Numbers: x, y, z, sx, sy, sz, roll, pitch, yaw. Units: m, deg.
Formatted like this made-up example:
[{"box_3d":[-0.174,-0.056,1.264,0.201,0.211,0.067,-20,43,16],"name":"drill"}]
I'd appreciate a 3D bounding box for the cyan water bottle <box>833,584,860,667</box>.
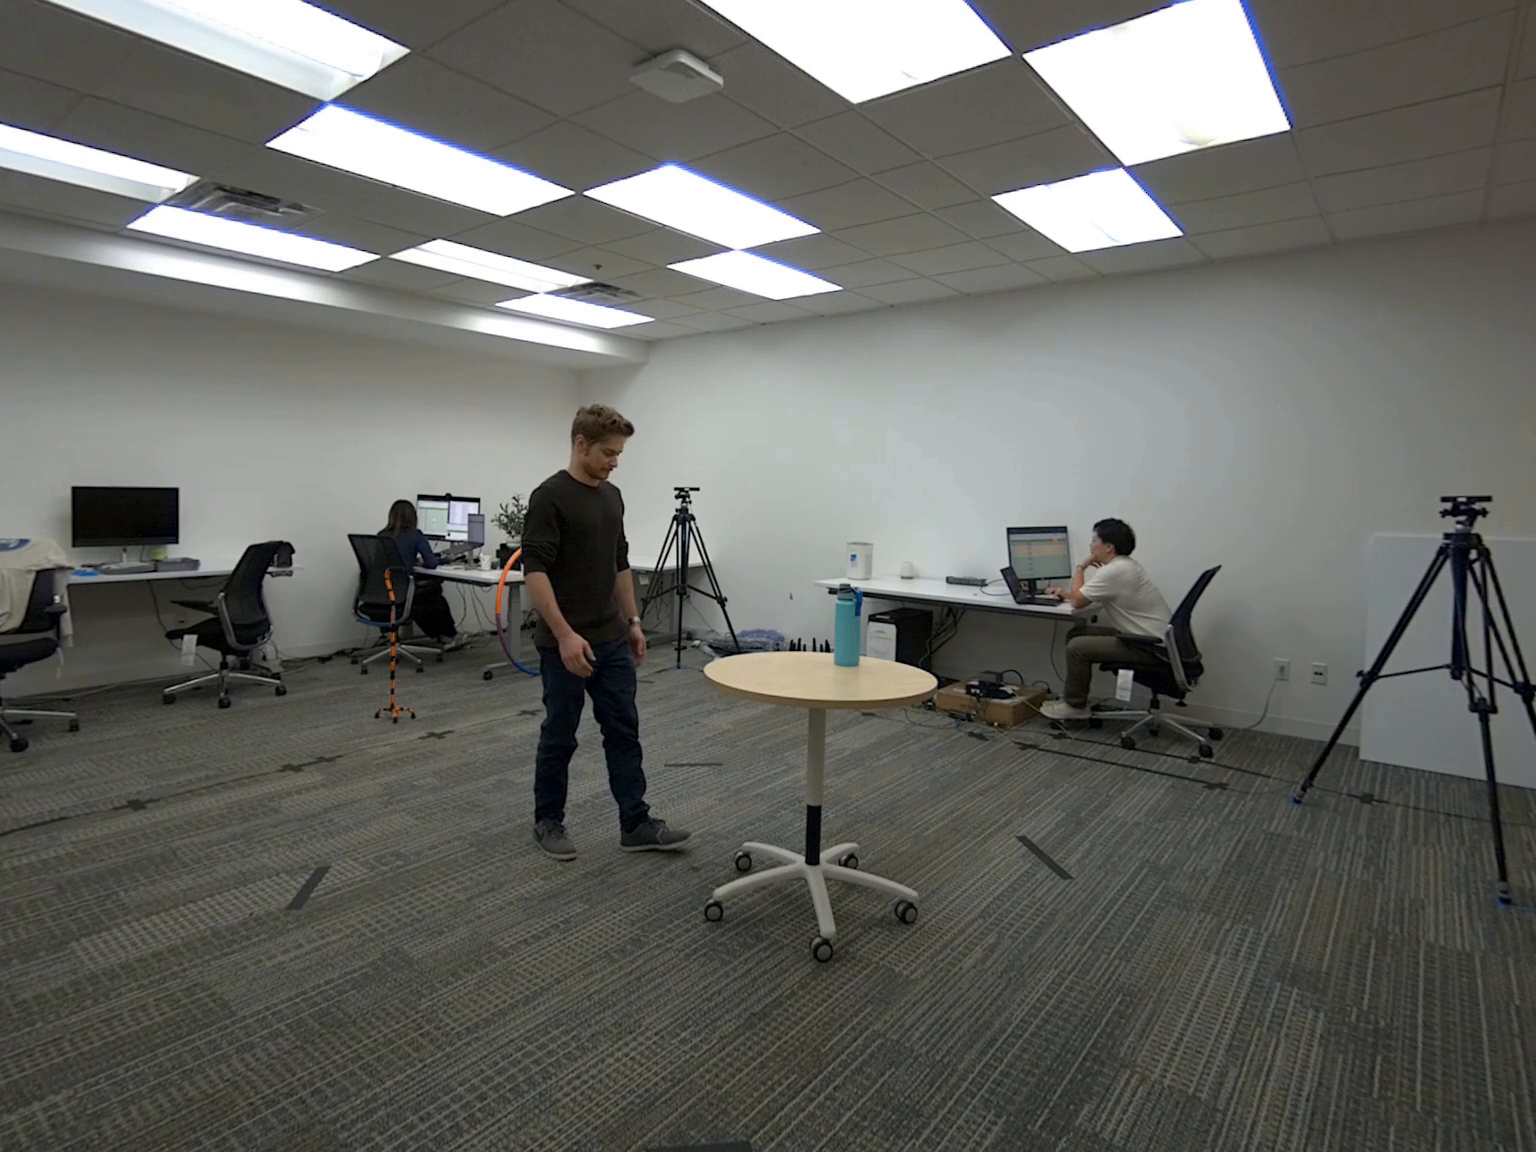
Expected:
[{"box_3d":[0.272,0.168,2.986,0.092,0.282,0.093,3,4,-2],"name":"cyan water bottle"}]
